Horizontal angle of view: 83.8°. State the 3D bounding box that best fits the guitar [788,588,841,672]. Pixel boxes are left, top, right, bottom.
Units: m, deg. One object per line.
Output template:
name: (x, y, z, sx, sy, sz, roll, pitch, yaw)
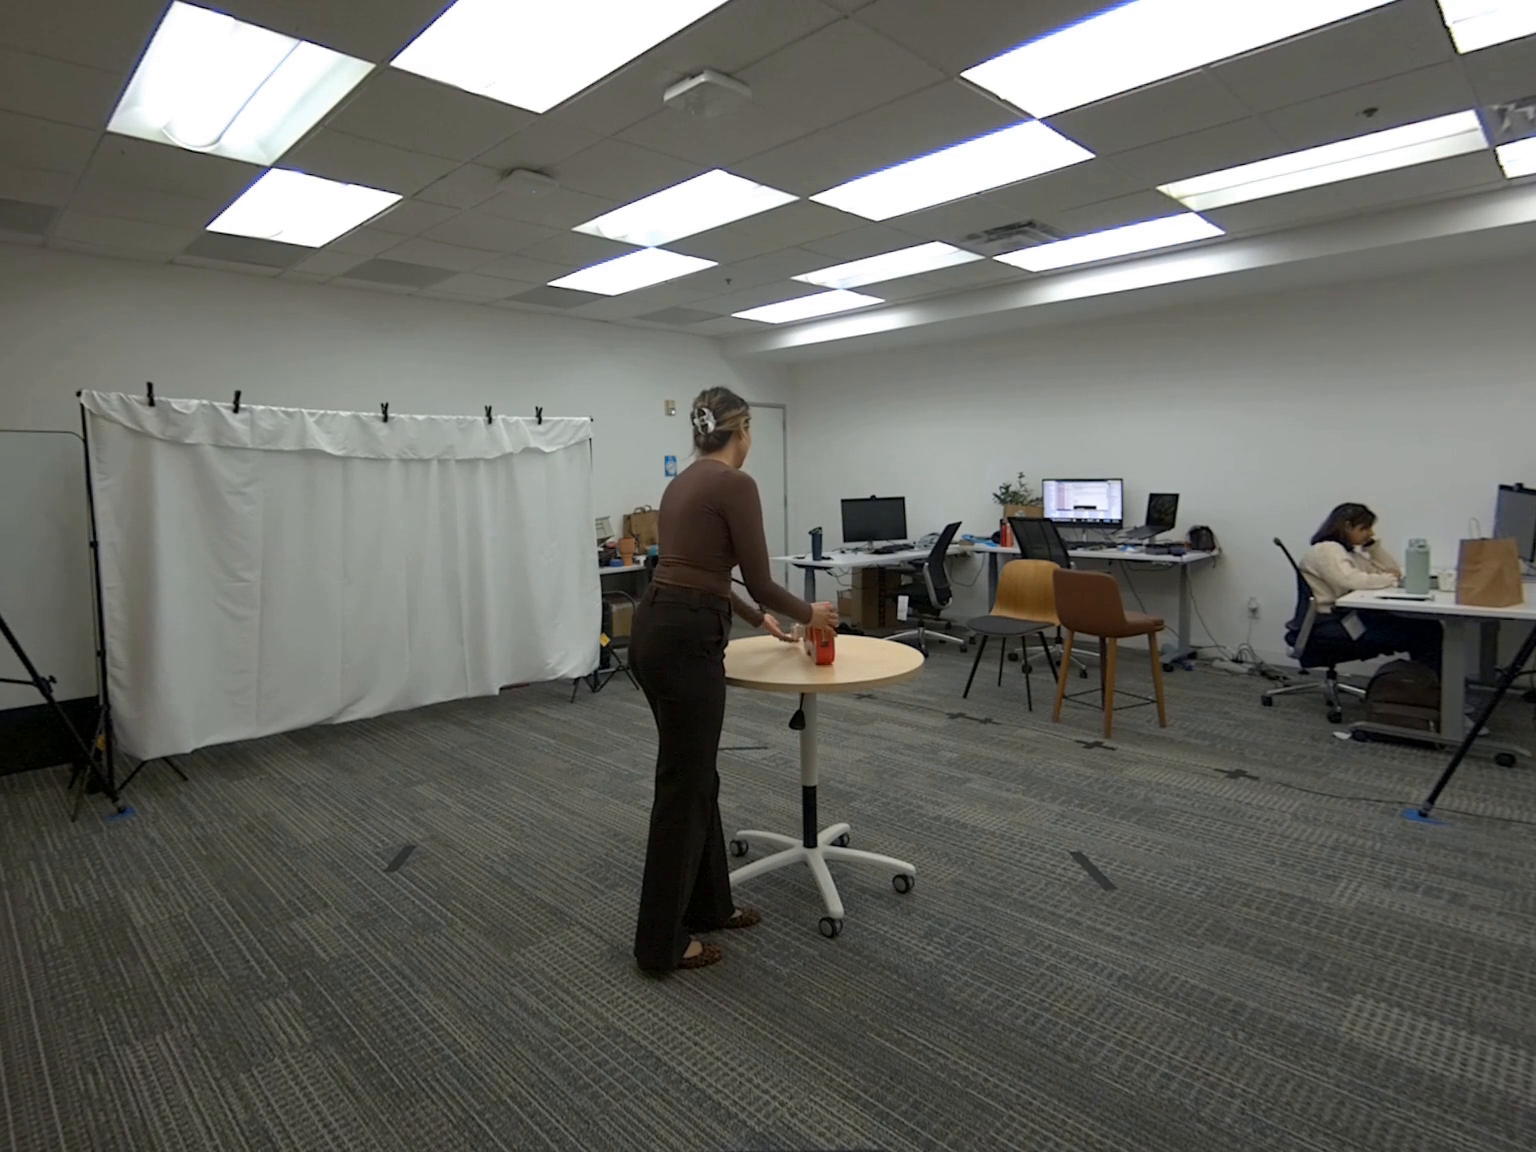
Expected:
guitar: (0.151, 0.172, 2.937, 0.070, 0.192, 0.502, -9, 6, -5)
